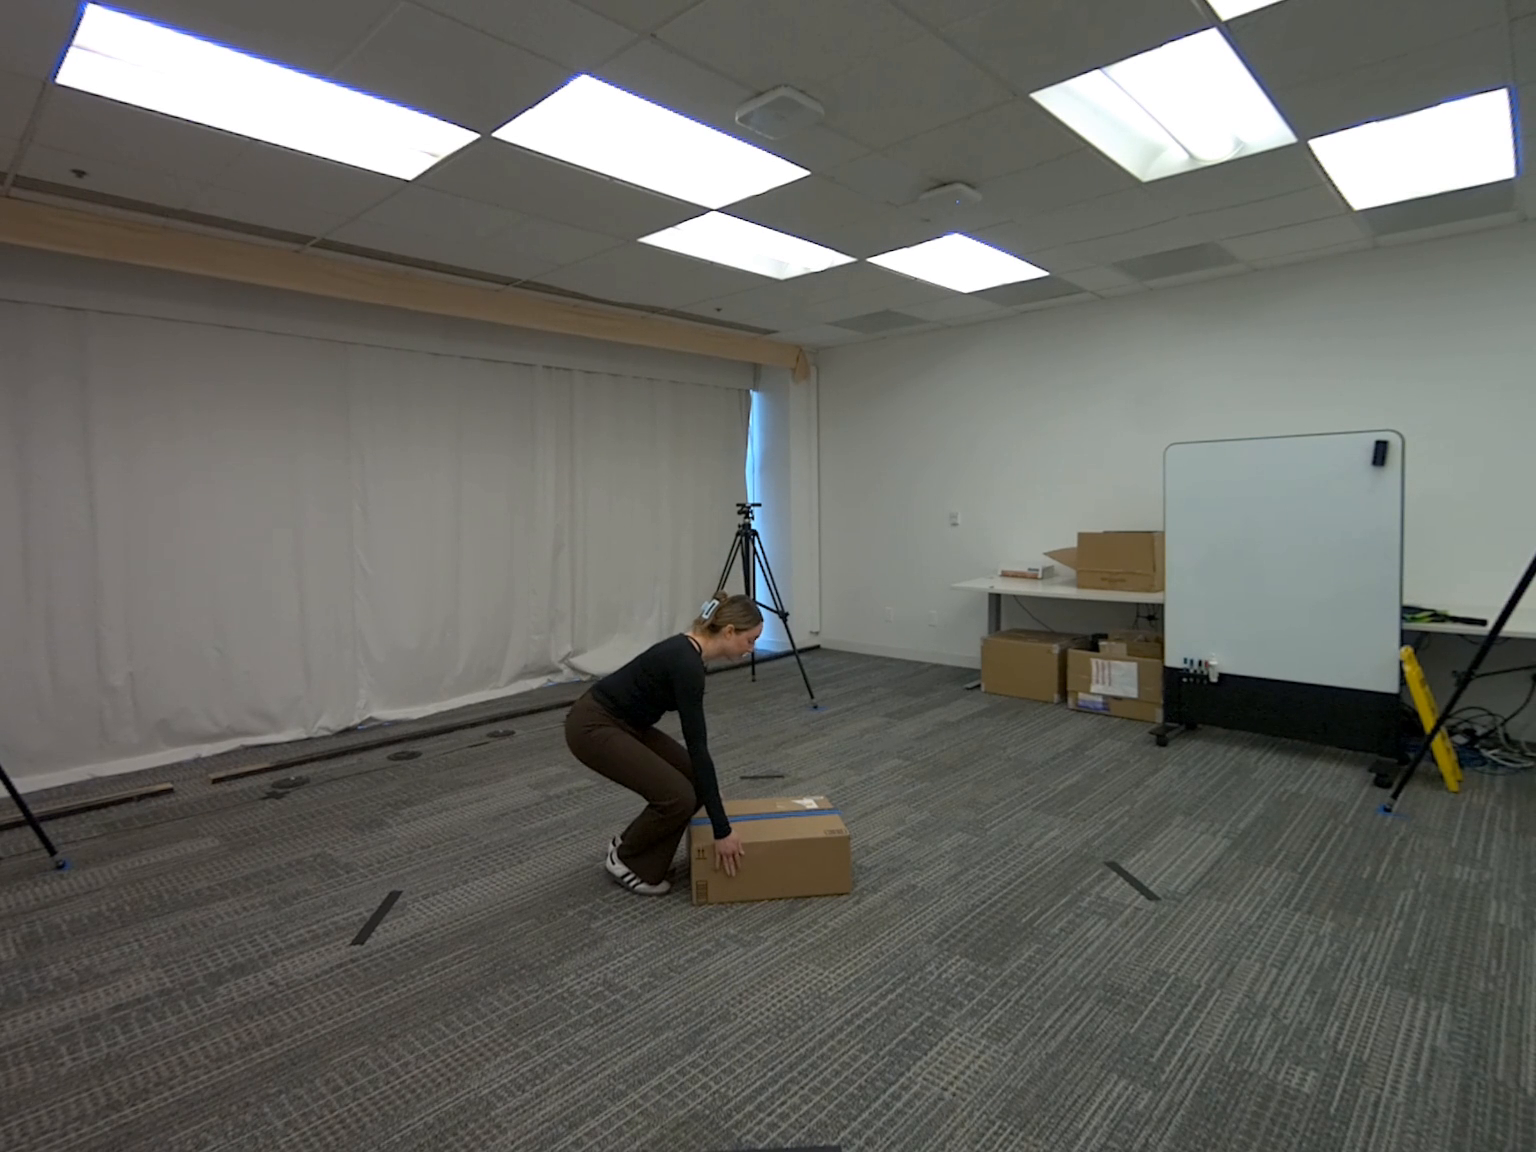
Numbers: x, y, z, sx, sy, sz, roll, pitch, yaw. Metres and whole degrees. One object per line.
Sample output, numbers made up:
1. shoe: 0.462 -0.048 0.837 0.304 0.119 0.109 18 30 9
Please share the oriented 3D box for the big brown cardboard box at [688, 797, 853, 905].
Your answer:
1. big brown cardboard box: -0.005 1.008 3.150 0.585 0.232 0.422 -3 5 -7
